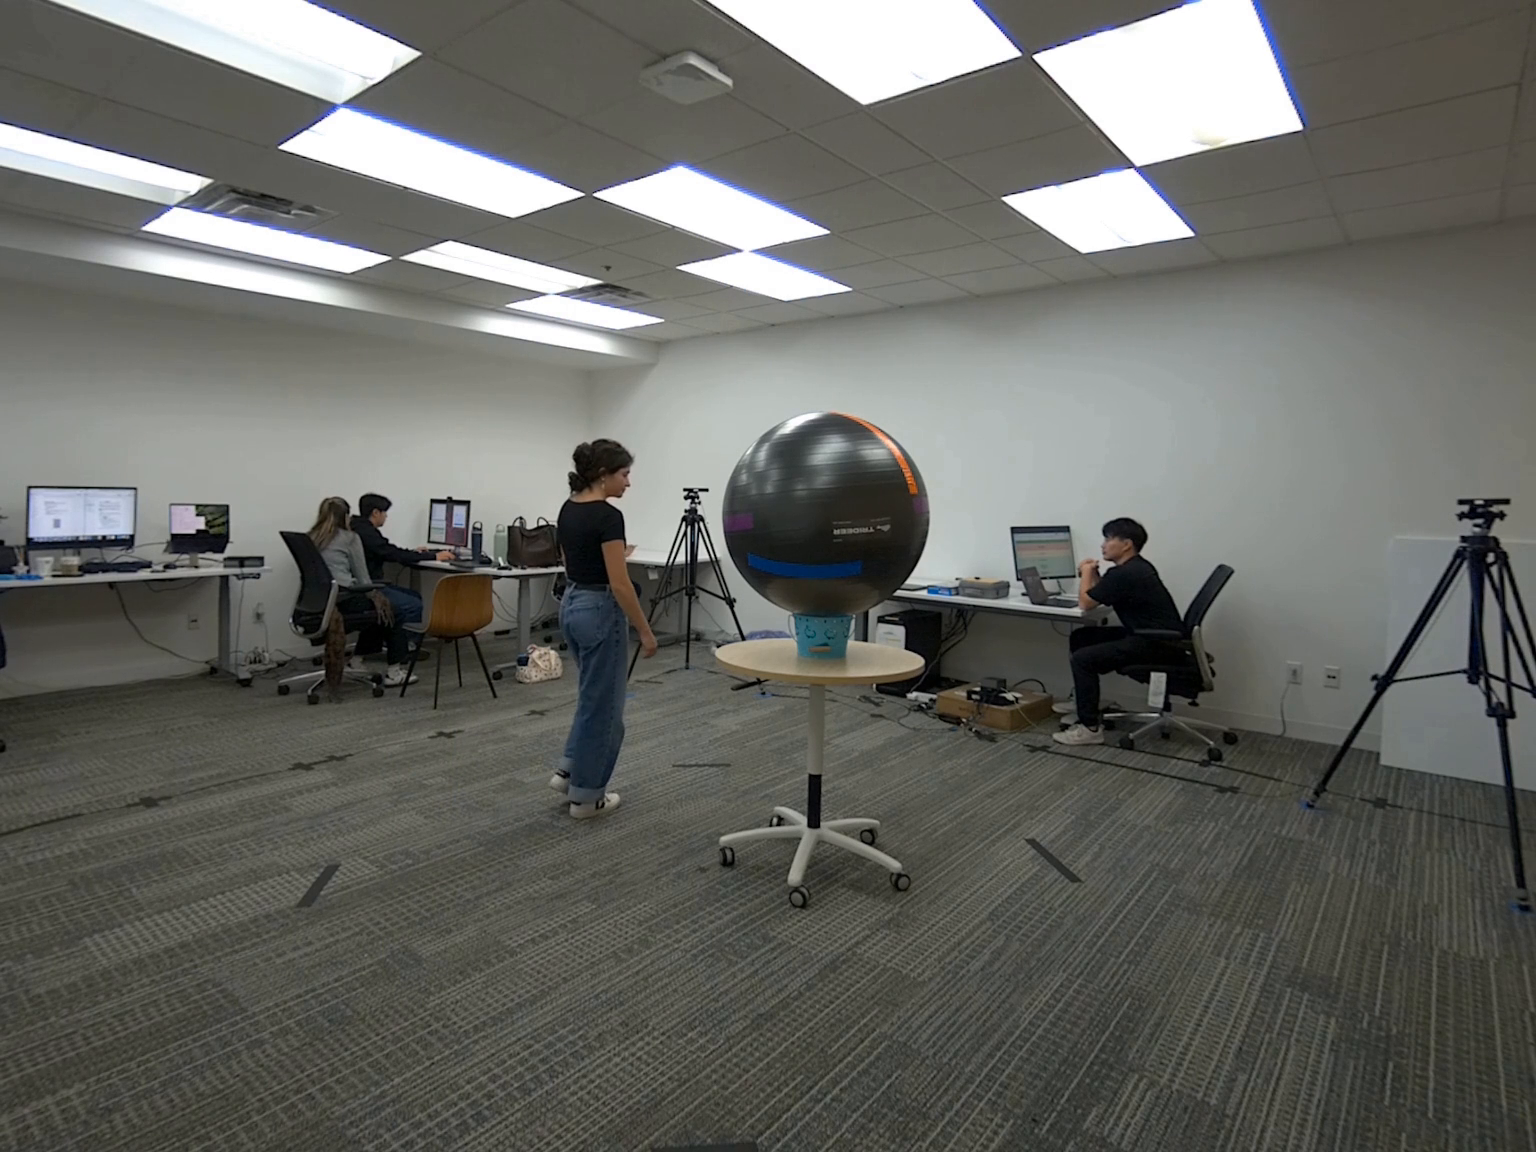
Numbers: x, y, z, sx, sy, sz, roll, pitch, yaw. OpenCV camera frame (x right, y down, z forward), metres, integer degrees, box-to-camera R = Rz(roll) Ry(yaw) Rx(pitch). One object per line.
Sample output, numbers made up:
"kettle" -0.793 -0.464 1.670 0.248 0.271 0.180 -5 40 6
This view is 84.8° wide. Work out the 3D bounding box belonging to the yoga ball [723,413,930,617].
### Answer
"yoga ball" 0.216 -0.223 3.157 0.757 0.755 0.762 1 4 -2
